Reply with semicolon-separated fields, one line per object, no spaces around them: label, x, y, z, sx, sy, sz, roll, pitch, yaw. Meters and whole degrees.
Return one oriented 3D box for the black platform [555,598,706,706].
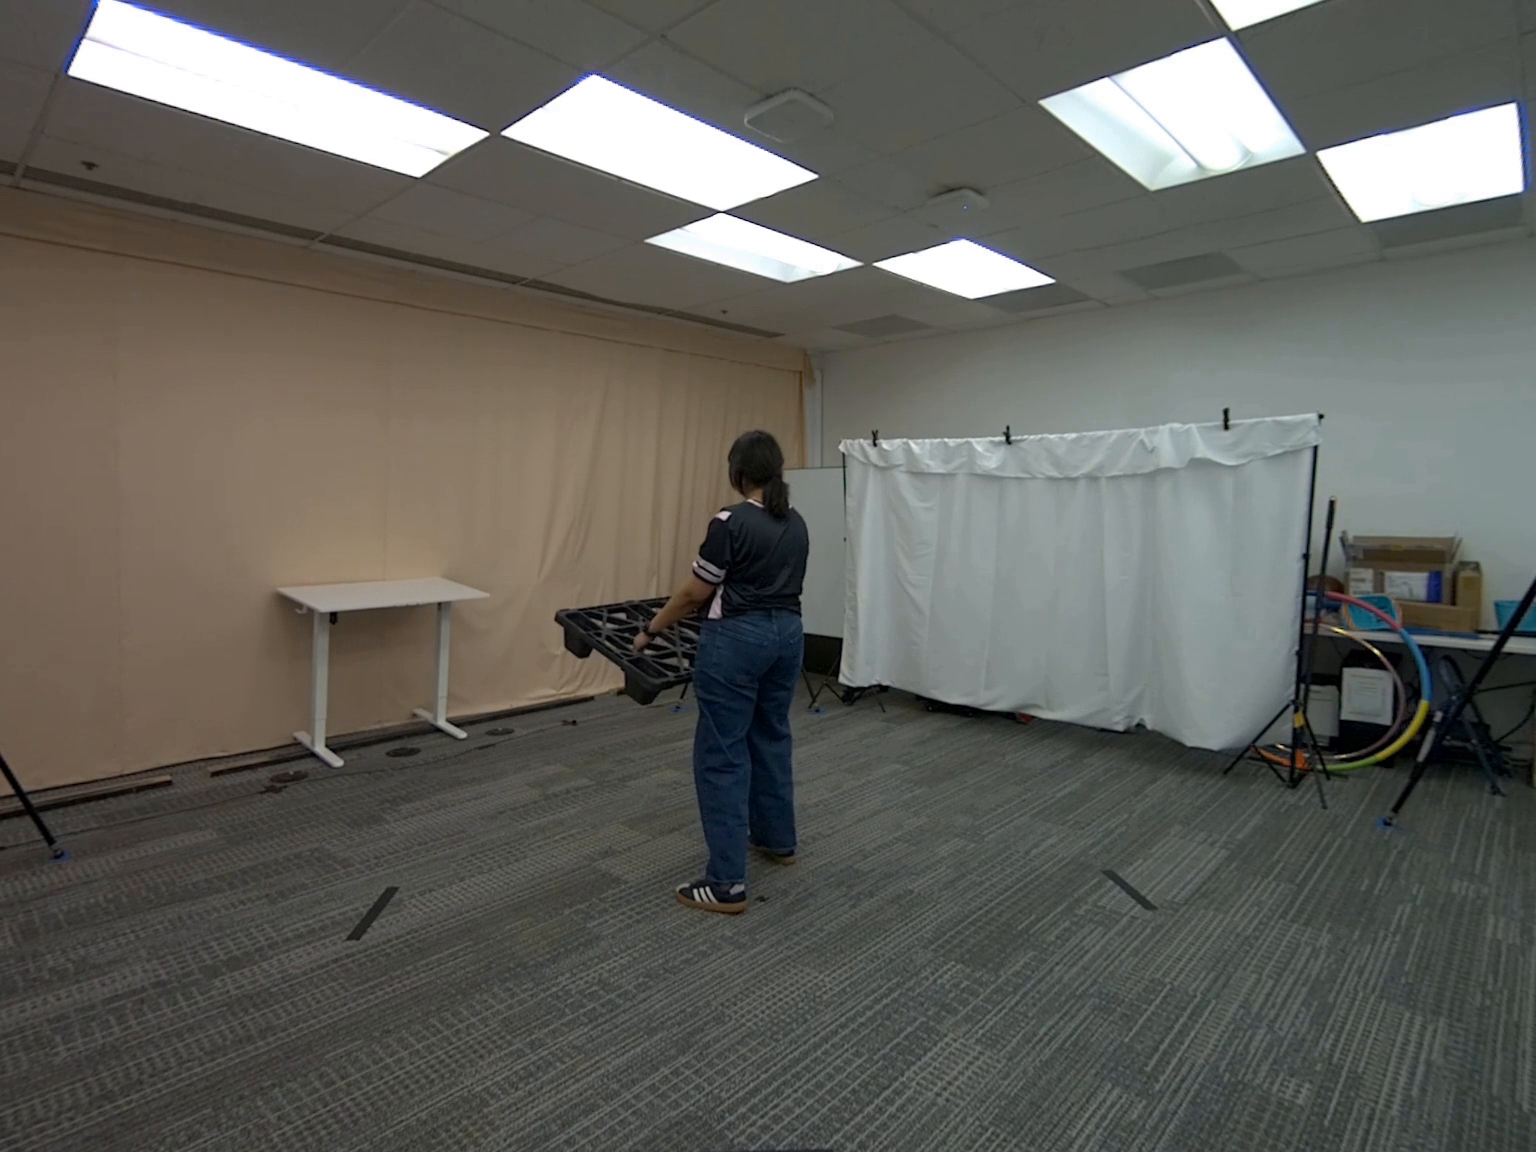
black platform;-0.384;0.287;3.410;0.627;0.142;0.782;28;22;35
